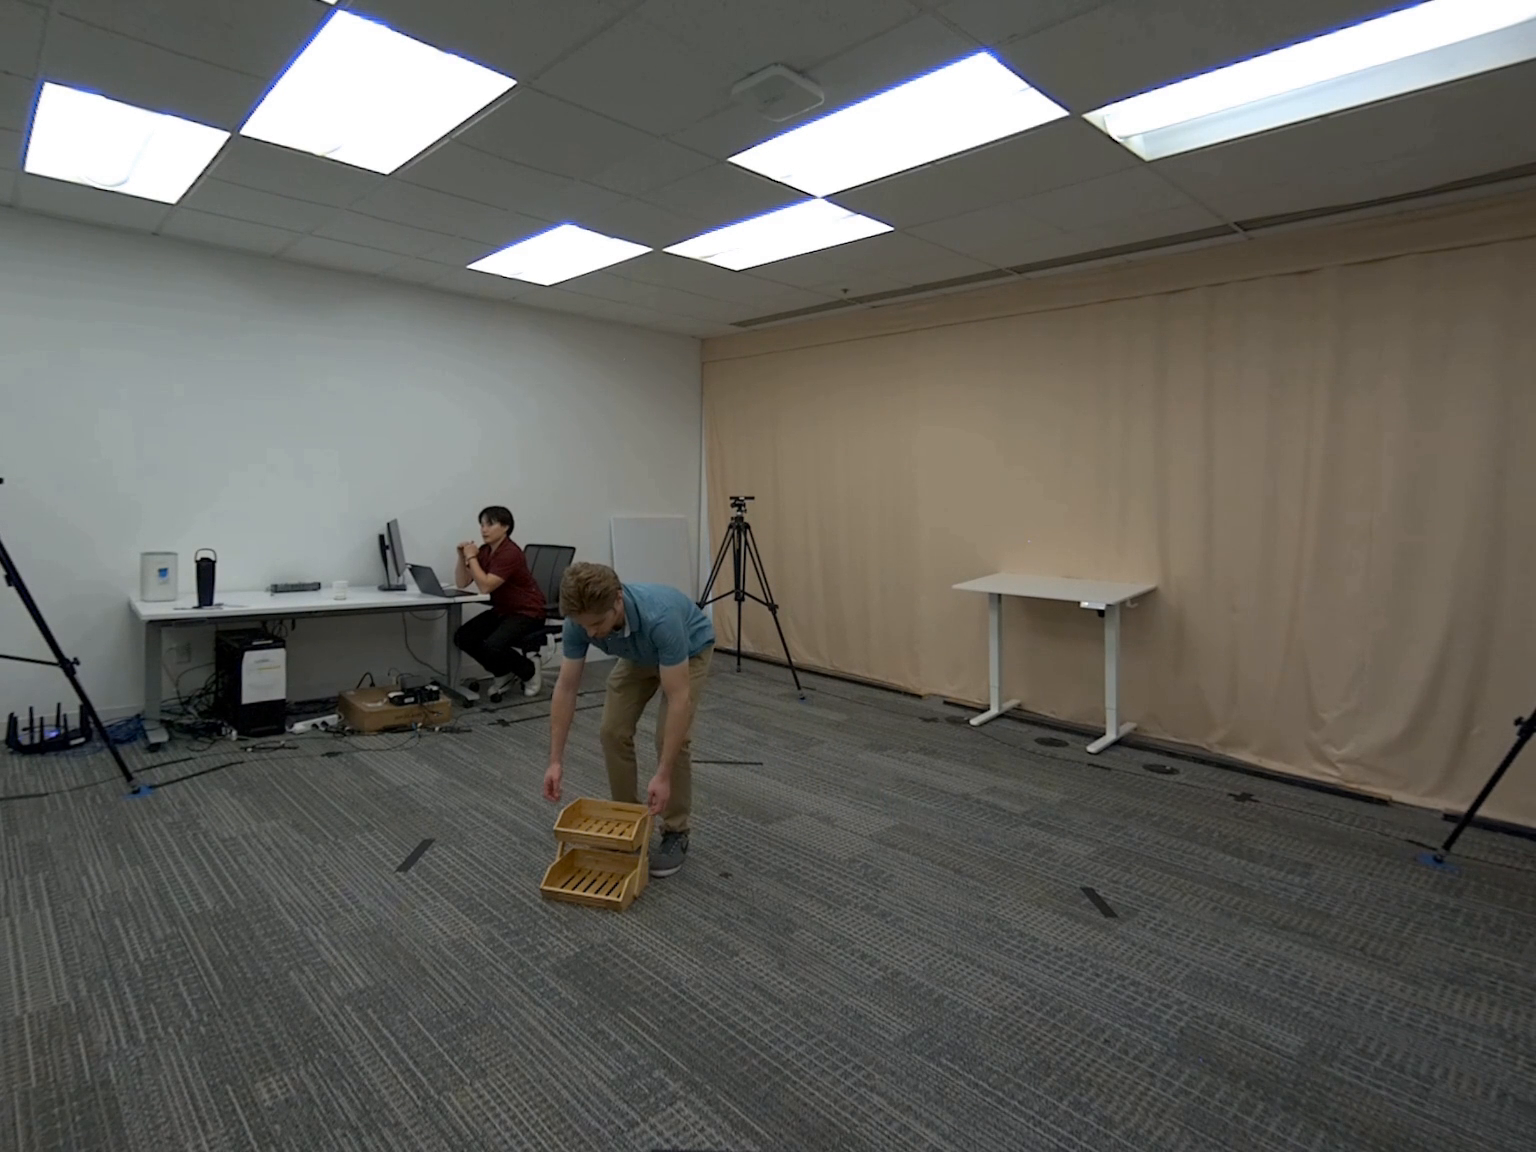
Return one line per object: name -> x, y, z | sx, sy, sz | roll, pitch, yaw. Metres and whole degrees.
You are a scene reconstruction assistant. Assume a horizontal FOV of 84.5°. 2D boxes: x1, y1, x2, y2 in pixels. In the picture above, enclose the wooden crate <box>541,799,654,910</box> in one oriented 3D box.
wooden crate -> -0.605, 0.976, 2.968 | 0.328, 0.273, 0.299 | 3, 3, 14
